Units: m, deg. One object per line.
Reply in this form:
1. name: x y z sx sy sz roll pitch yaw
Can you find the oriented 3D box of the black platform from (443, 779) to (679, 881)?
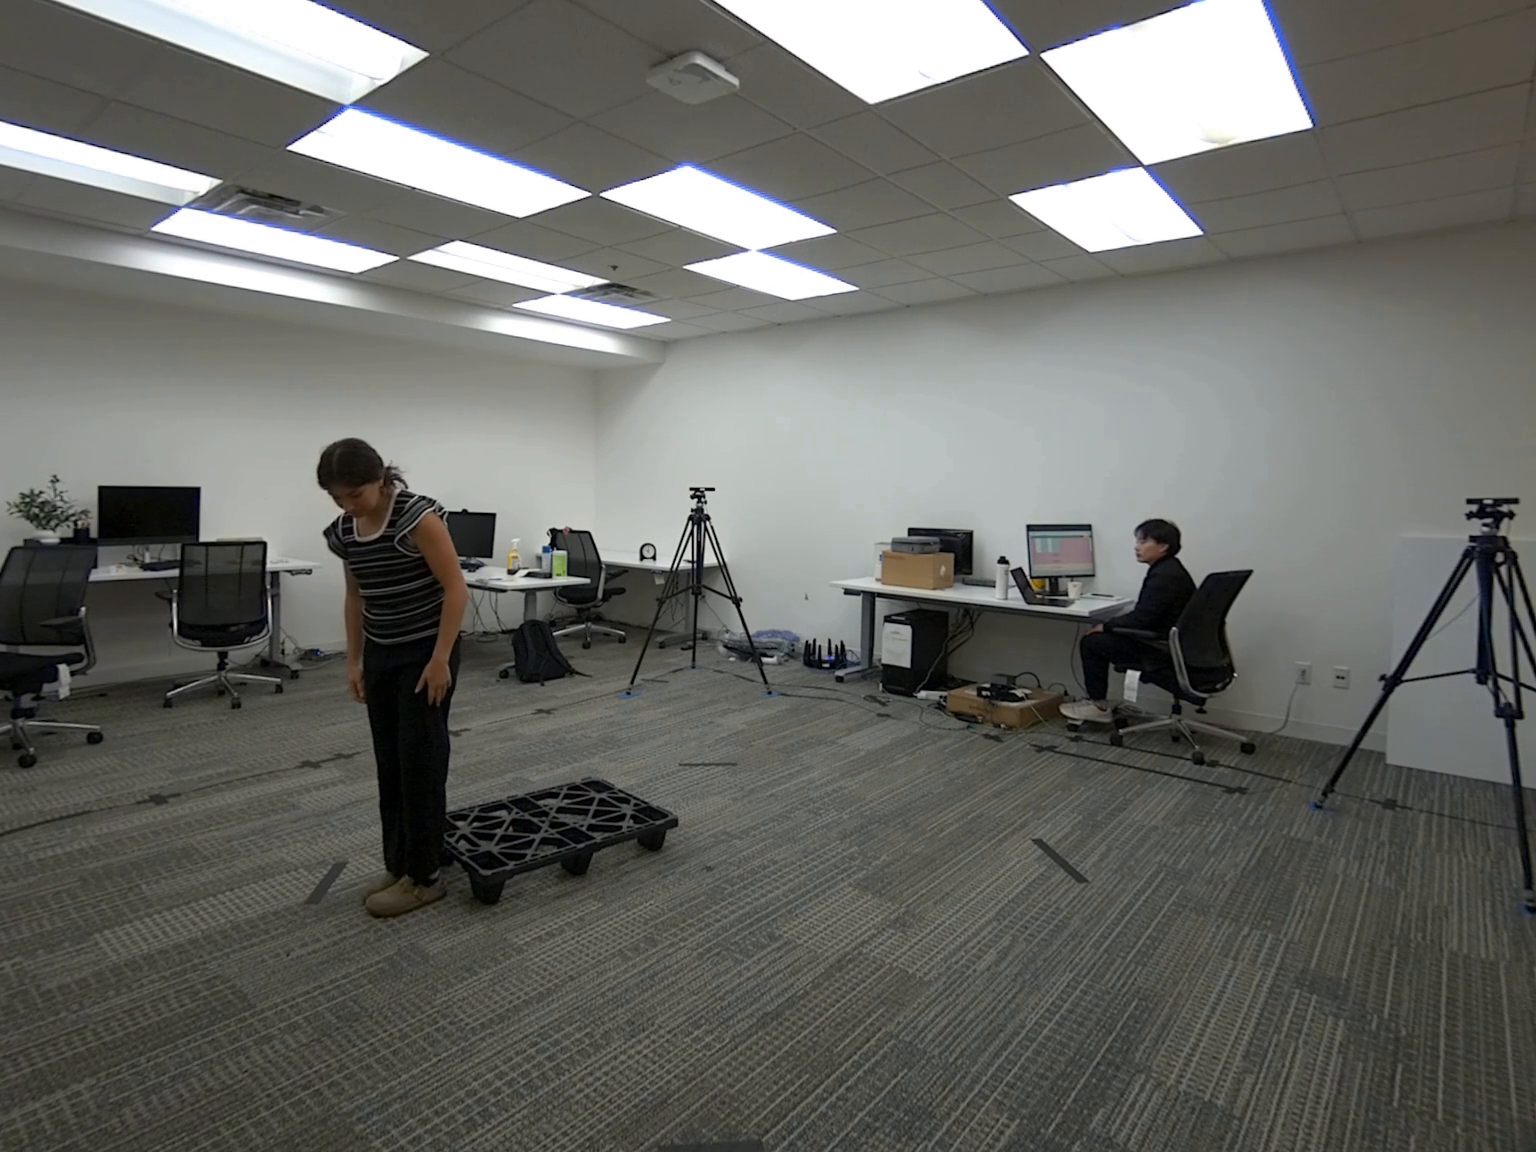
1. black platform: -0.844 0.978 3.217 0.781 0.143 0.626 -4 7 -42
